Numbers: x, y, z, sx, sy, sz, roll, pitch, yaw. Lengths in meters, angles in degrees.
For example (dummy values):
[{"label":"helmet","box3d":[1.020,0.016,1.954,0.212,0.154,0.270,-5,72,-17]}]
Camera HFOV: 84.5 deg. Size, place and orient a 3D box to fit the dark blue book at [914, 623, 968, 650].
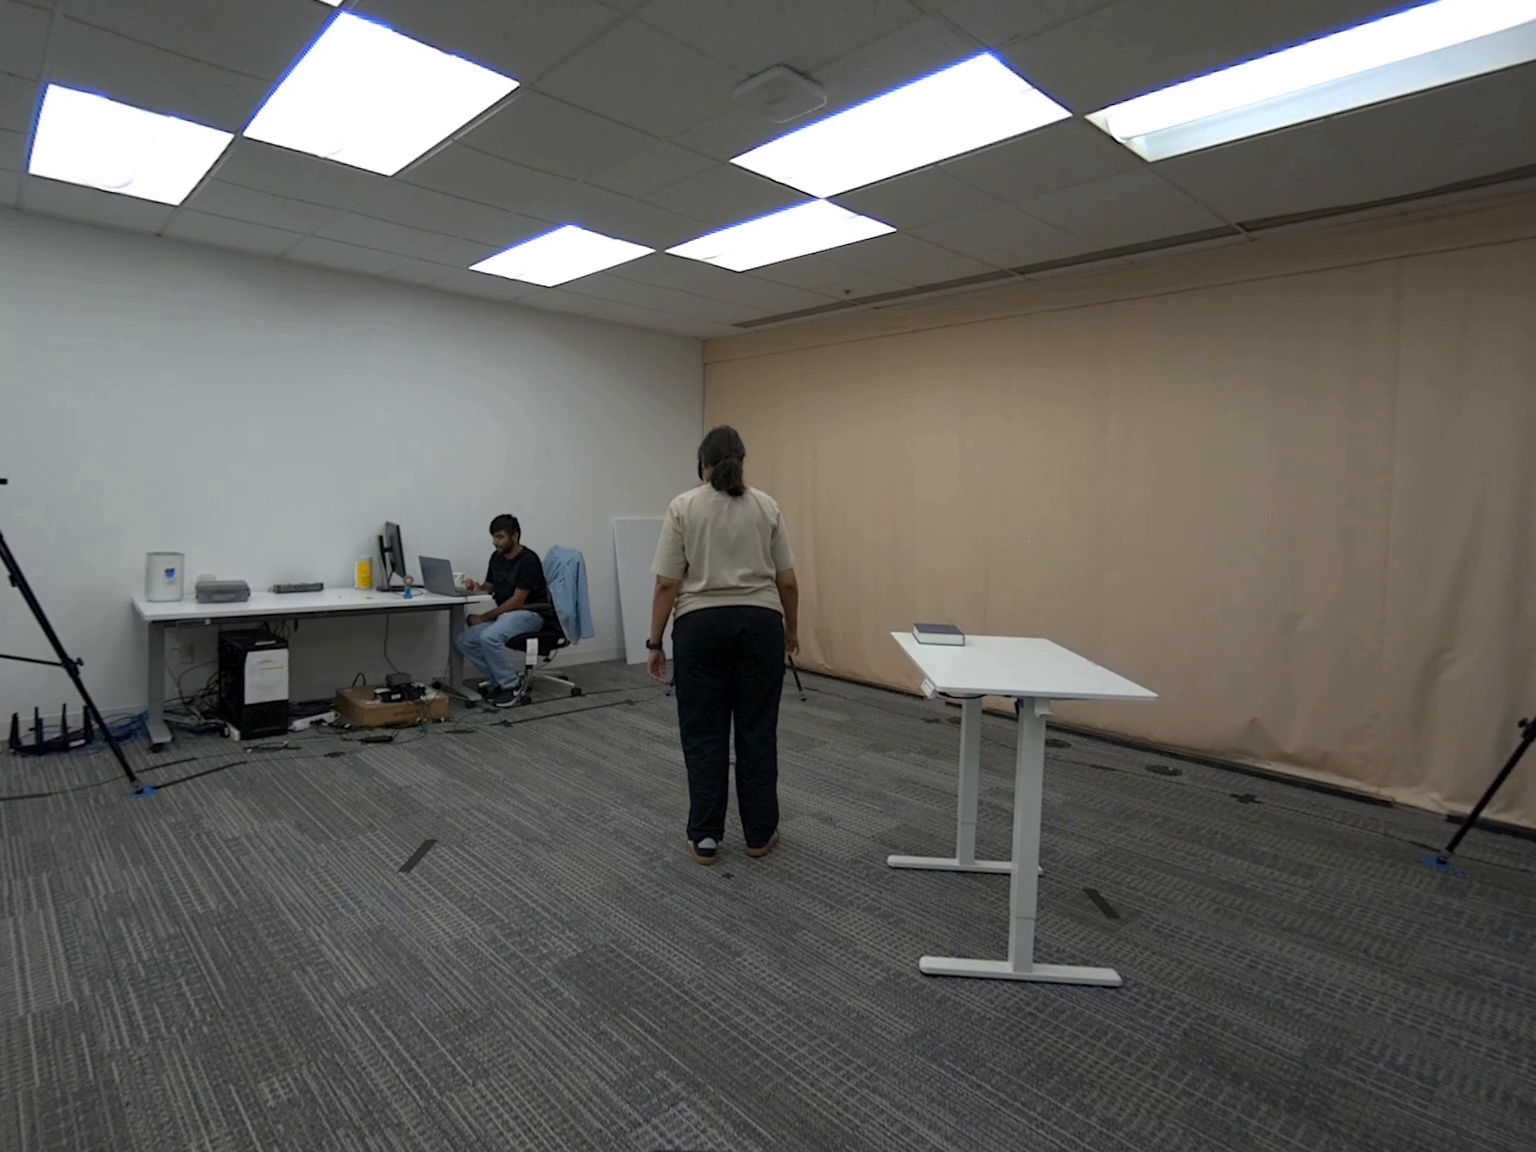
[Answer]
[{"label":"dark blue book","box3d":[0.639,0.222,3.151,0.164,0.045,0.244,5,4,6]}]
